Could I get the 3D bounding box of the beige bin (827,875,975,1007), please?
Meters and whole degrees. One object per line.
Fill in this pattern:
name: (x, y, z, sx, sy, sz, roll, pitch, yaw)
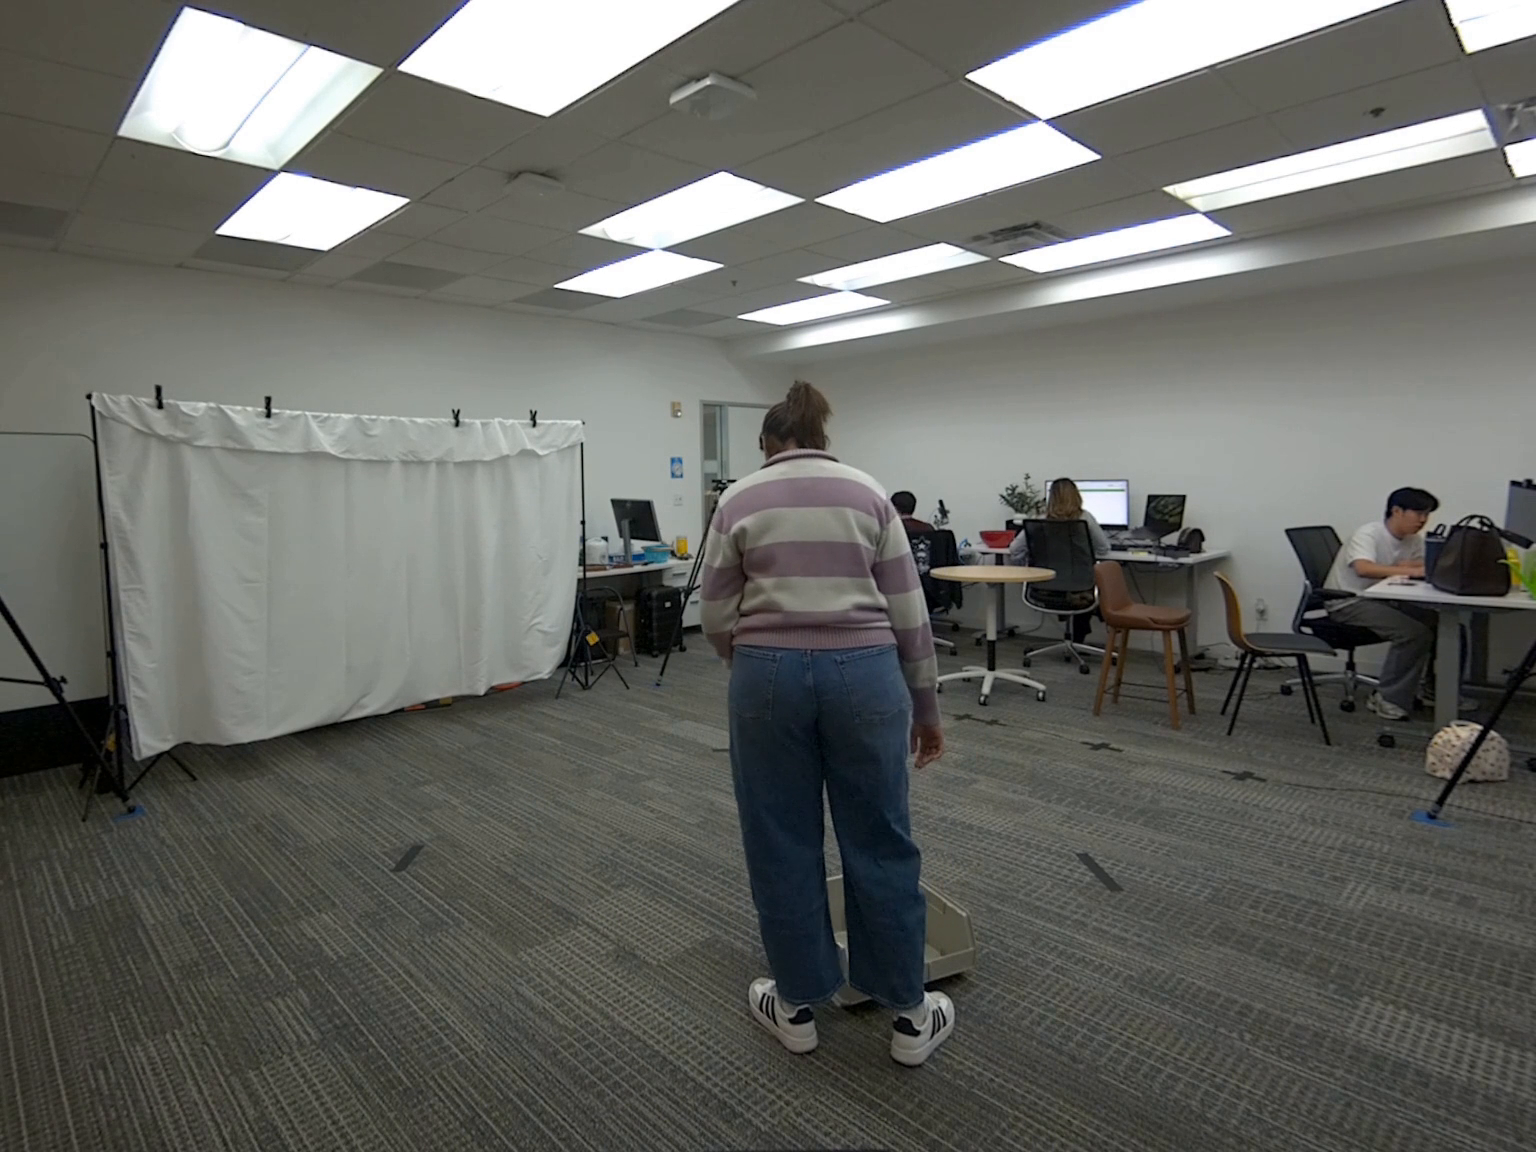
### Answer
beige bin: (0.321, 1.031, 2.449, 0.414, 0.188, 0.386, -5, 6, -25)
